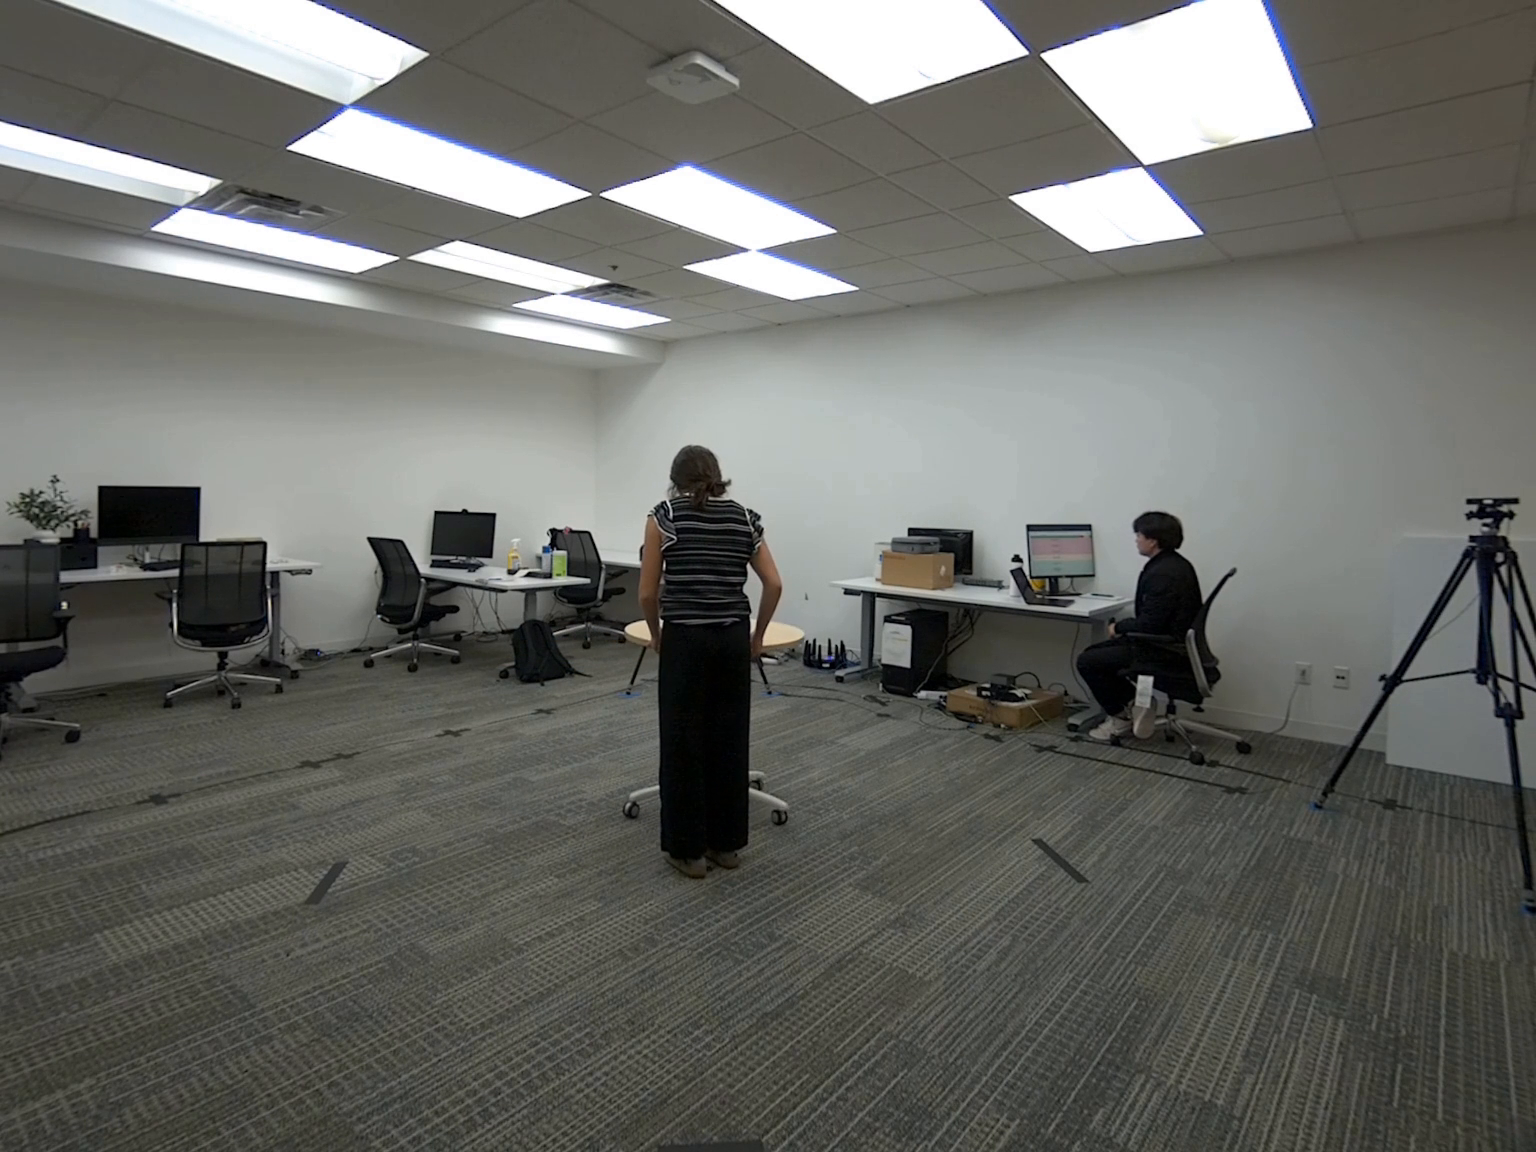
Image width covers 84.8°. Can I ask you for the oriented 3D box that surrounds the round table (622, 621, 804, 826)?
[{"bbox_3d":[-0.254,0.616,3.636,0.784,0.784,0.789,1,4,-2],"label":"round table"}]
